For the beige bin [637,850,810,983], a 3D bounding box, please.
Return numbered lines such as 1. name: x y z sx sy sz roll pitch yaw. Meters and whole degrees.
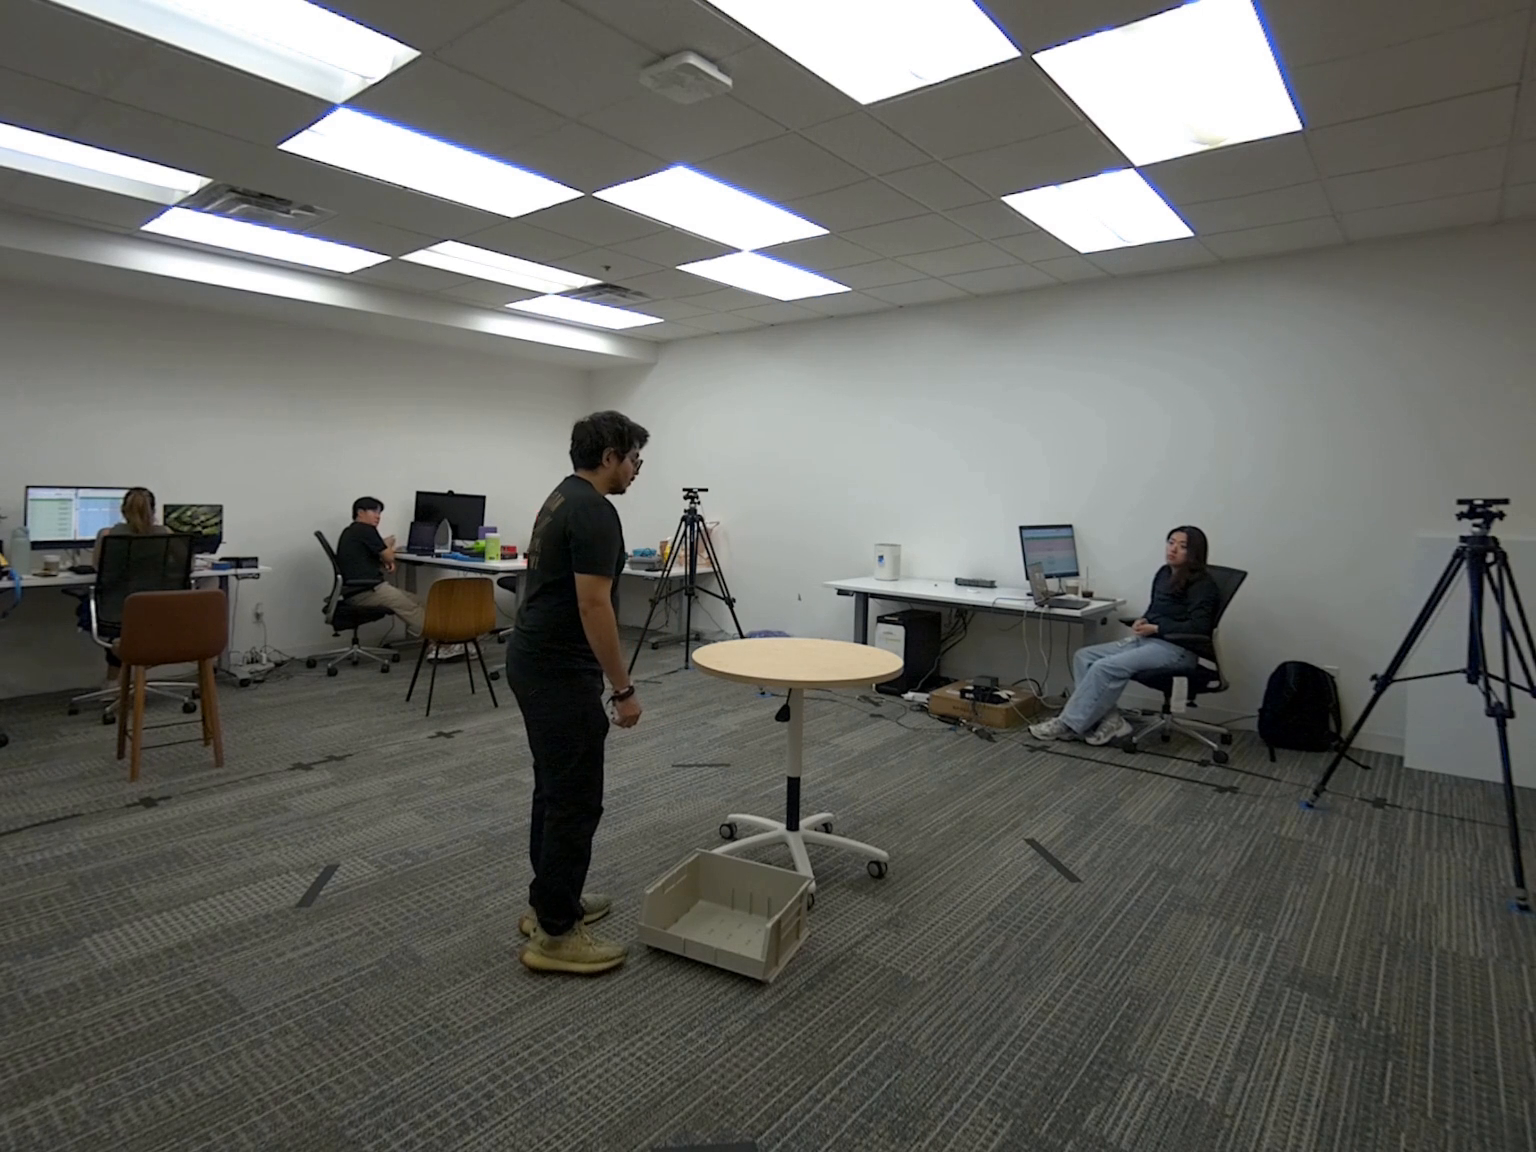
1. beige bin: -0.129 1.036 2.600 0.433 0.188 0.369 3 5 25
